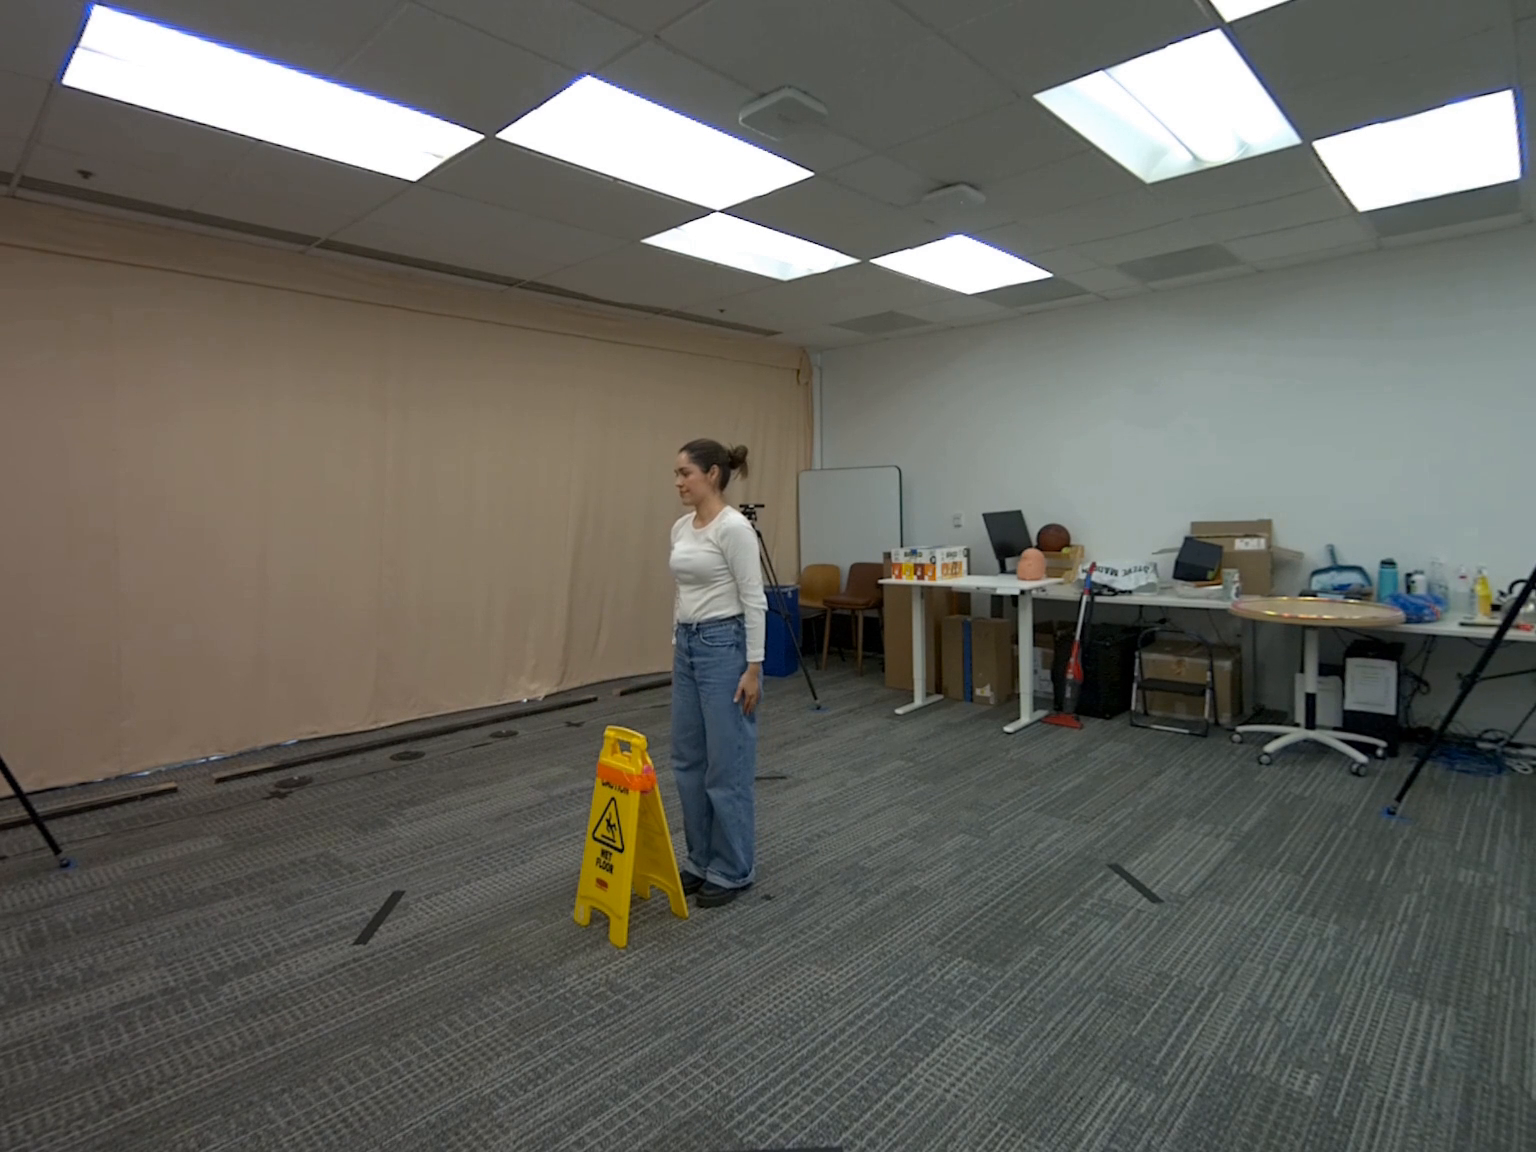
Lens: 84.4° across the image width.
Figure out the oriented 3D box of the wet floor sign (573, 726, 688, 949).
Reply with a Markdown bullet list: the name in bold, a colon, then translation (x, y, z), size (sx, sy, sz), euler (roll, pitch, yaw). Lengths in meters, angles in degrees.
- **wet floor sign**: translation (-0.468, 0.838, 2.827), size (0.291, 0.645, 0.281), euler (0, 4, 45)
